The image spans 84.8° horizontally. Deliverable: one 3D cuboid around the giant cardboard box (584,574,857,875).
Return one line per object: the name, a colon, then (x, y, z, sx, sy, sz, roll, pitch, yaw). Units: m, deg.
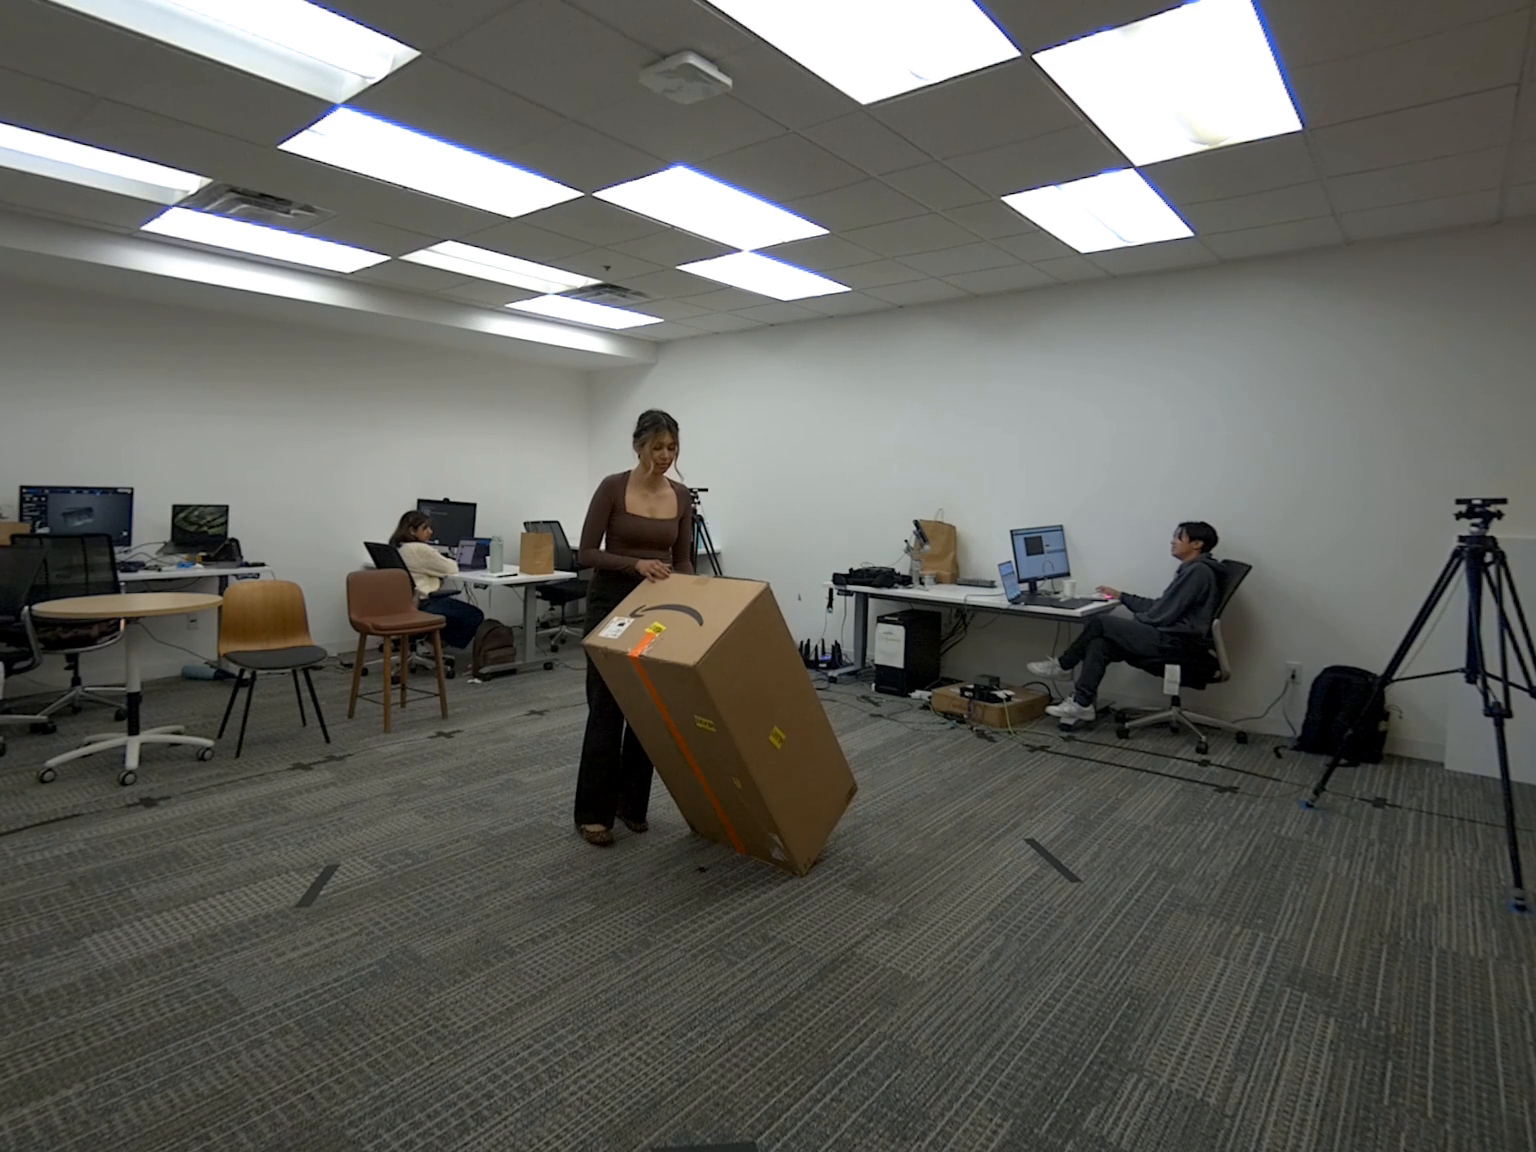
giant cardboard box: (-0.167, 0.531, 3.145, 0.604, 0.995, 0.446, 5, 39, 43)
